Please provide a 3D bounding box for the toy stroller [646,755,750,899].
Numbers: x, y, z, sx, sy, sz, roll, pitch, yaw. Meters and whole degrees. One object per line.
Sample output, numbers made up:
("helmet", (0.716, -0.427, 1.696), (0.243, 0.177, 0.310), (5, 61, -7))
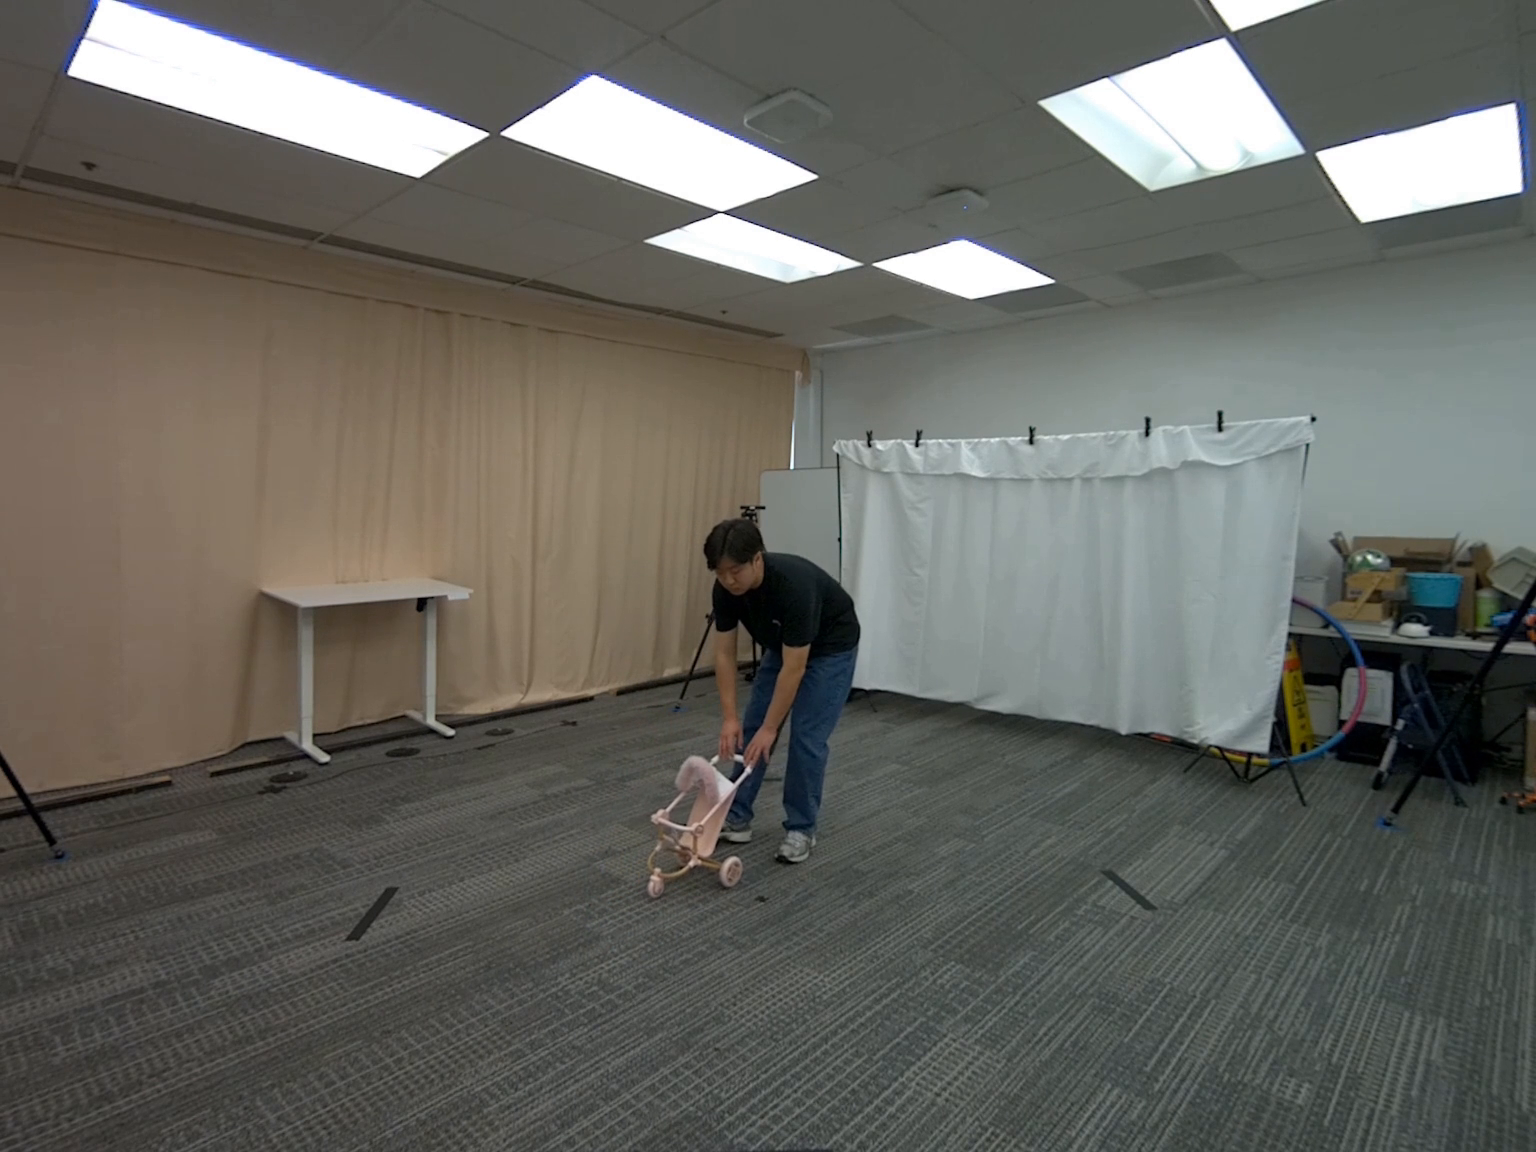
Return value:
("toy stroller", (-0.269, 0.910, 3.118), (0.329, 0.536, 0.291), (19, -10, -40))
